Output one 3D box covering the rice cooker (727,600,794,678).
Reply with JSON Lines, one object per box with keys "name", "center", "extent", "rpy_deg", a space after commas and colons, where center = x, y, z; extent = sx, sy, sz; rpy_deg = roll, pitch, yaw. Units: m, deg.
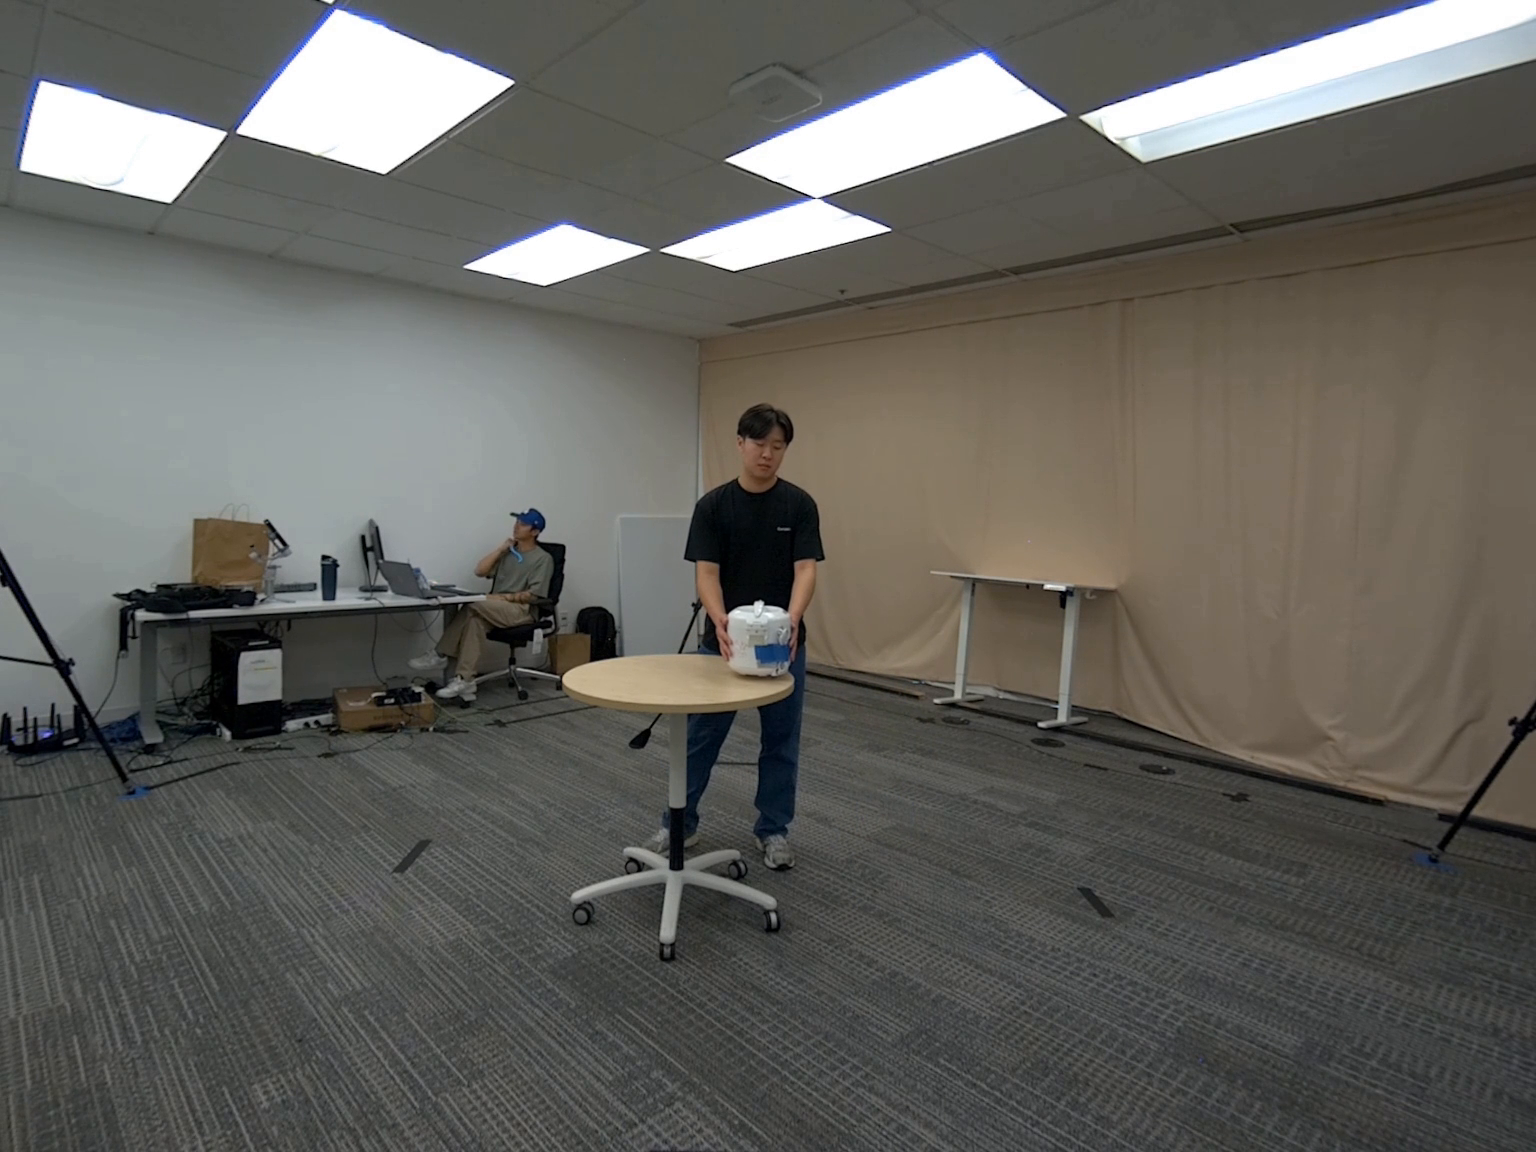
{"name": "rice cooker", "center": [-0.037, 0.202, 2.801], "extent": [0.218, 0.232, 0.221], "rpy_deg": [0, 7, 5]}
